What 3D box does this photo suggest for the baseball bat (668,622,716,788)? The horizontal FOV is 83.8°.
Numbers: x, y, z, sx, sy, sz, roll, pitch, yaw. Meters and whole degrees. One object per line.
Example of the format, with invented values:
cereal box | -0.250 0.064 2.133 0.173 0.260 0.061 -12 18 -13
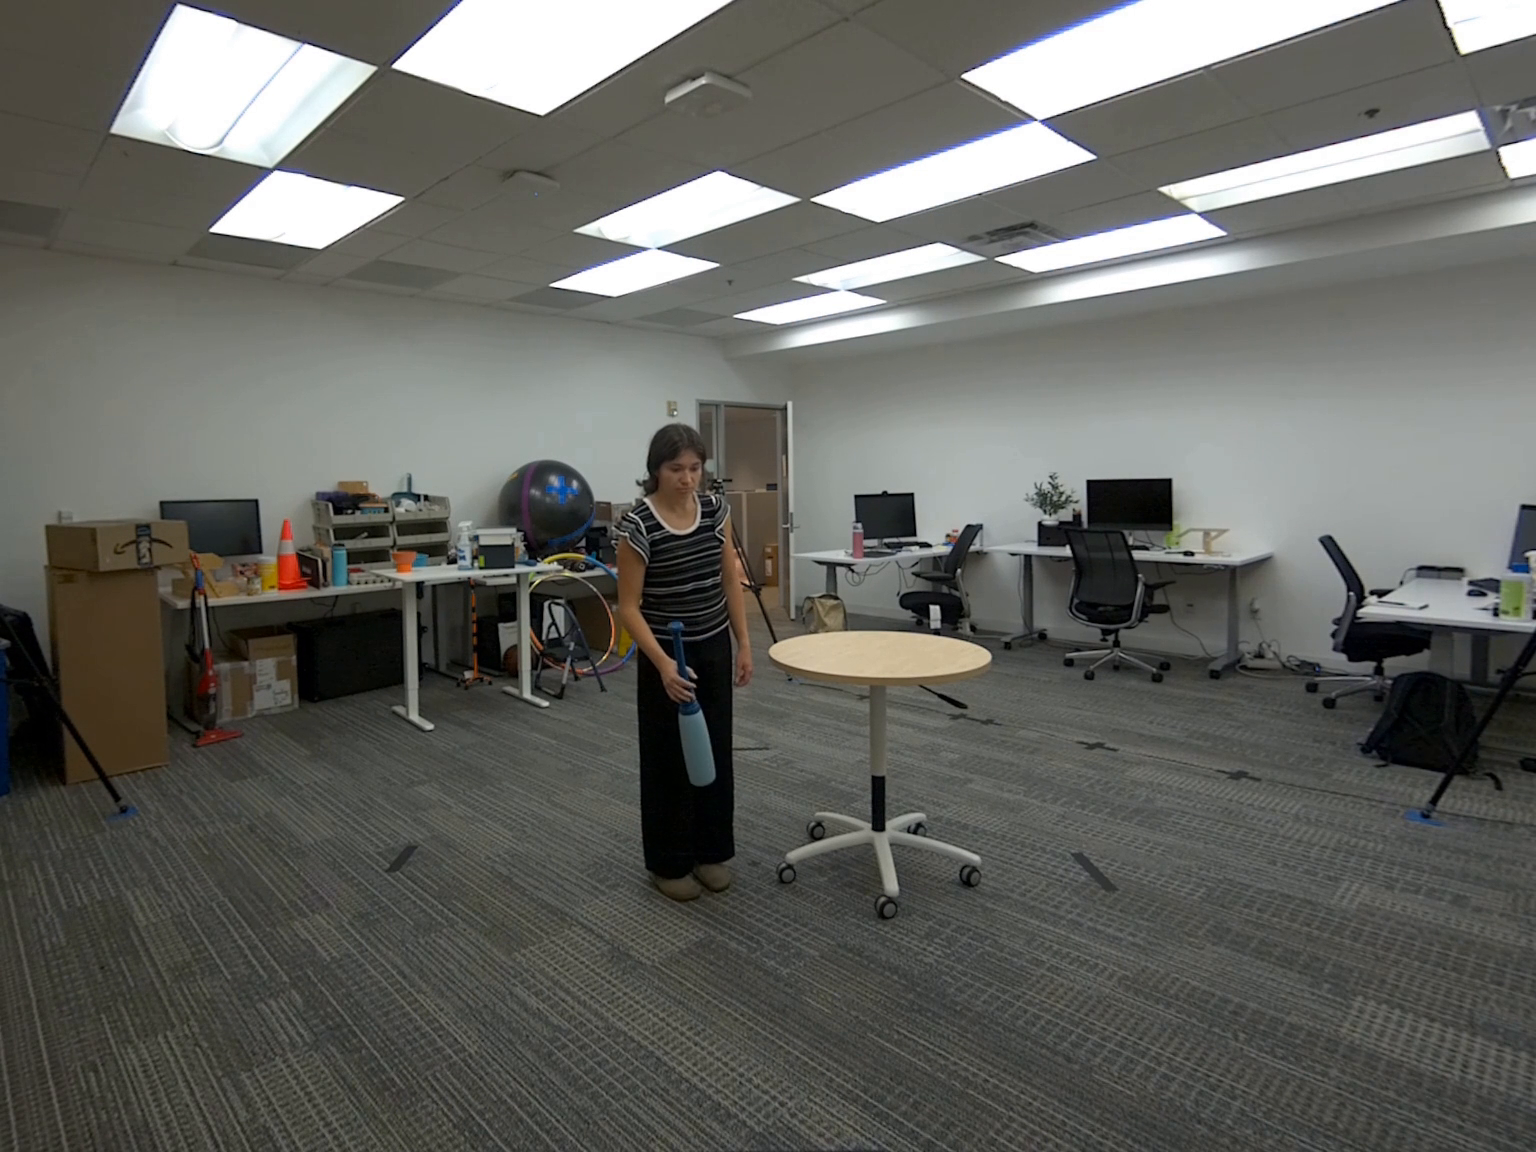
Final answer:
baseball bat | -0.239 0.402 2.626 0.089 0.534 0.090 -6 17 0
